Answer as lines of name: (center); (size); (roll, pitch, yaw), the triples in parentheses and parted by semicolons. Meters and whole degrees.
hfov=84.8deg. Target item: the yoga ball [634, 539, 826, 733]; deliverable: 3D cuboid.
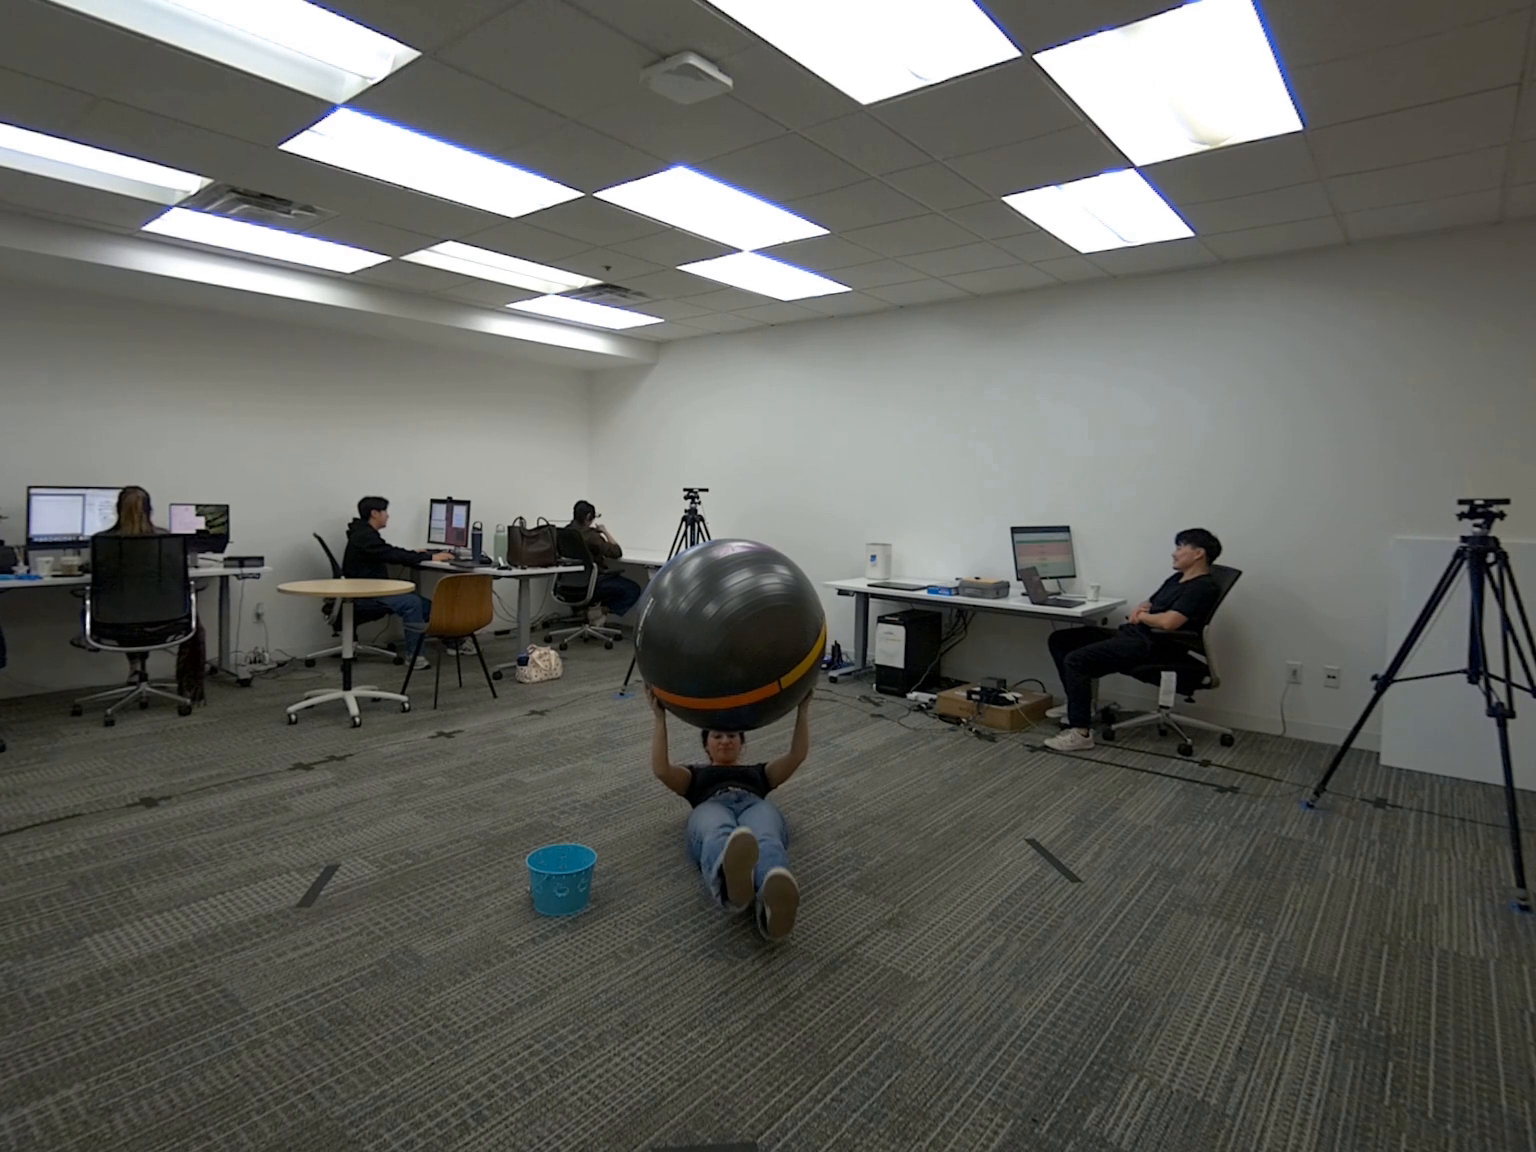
yoga ball: (-0.158, 0.228, 3.354); (0.757, 0.755, 0.762); (1, 4, -2)
